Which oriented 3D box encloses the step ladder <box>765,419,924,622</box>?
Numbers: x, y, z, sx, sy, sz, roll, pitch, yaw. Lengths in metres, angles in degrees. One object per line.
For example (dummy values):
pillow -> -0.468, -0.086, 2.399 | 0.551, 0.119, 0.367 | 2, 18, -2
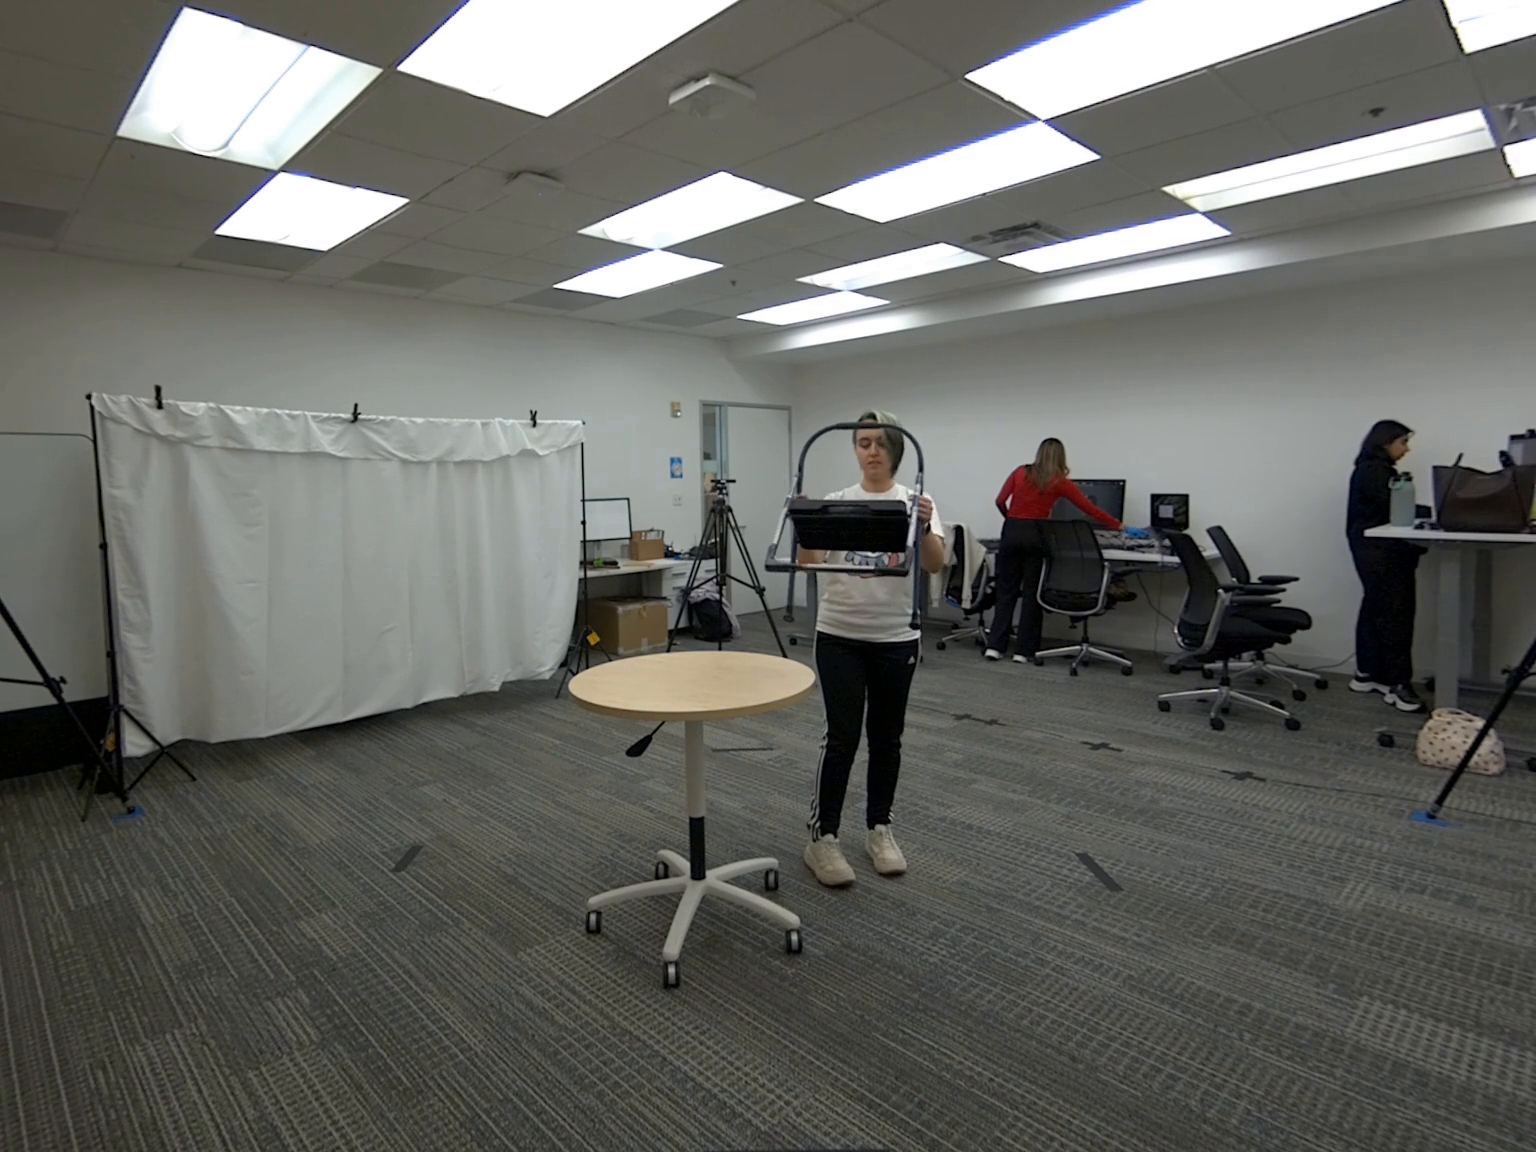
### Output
step ladder -> 0.276, -0.191, 2.684 | 0.438, 0.617, 0.337 | 1, -29, 16
